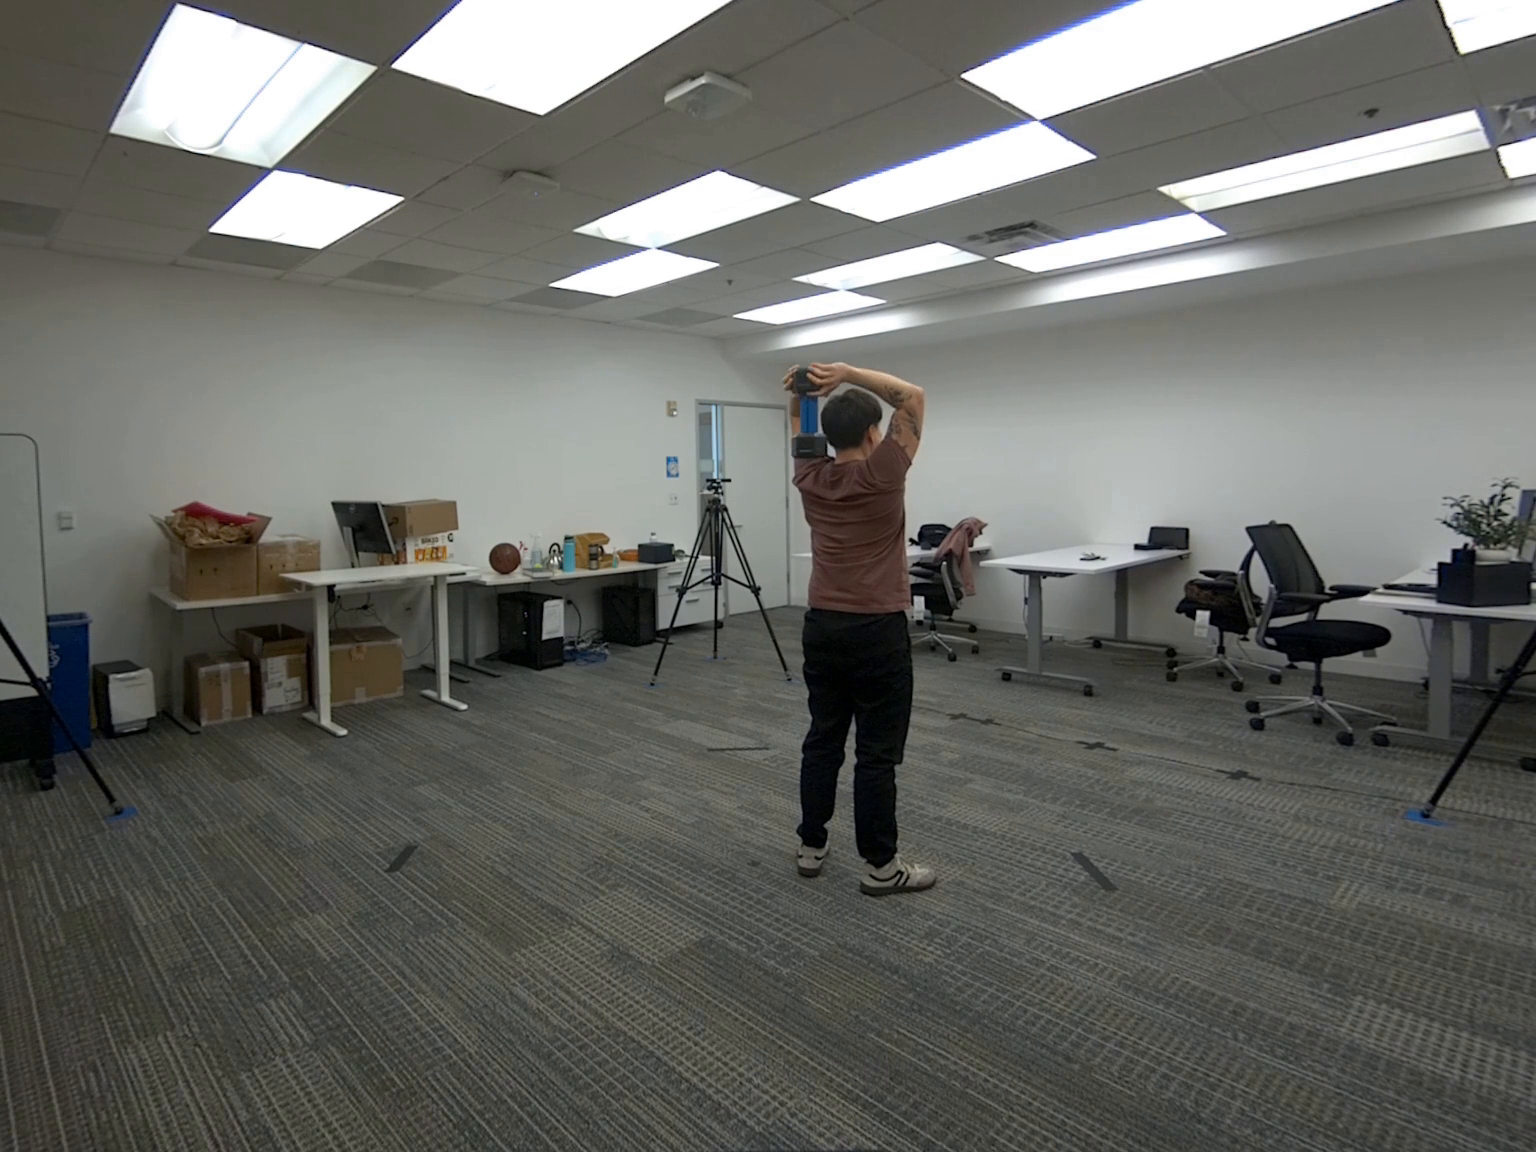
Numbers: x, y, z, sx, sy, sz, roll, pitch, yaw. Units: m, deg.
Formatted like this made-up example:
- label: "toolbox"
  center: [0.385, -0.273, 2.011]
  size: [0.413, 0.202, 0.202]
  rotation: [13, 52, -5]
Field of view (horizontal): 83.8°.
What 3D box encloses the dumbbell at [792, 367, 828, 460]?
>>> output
- label: "dumbbell"
  center: [0.138, -0.536, 2.813]
  size: [0.119, 0.294, 0.112]
  rotation: [2, -1, -40]
